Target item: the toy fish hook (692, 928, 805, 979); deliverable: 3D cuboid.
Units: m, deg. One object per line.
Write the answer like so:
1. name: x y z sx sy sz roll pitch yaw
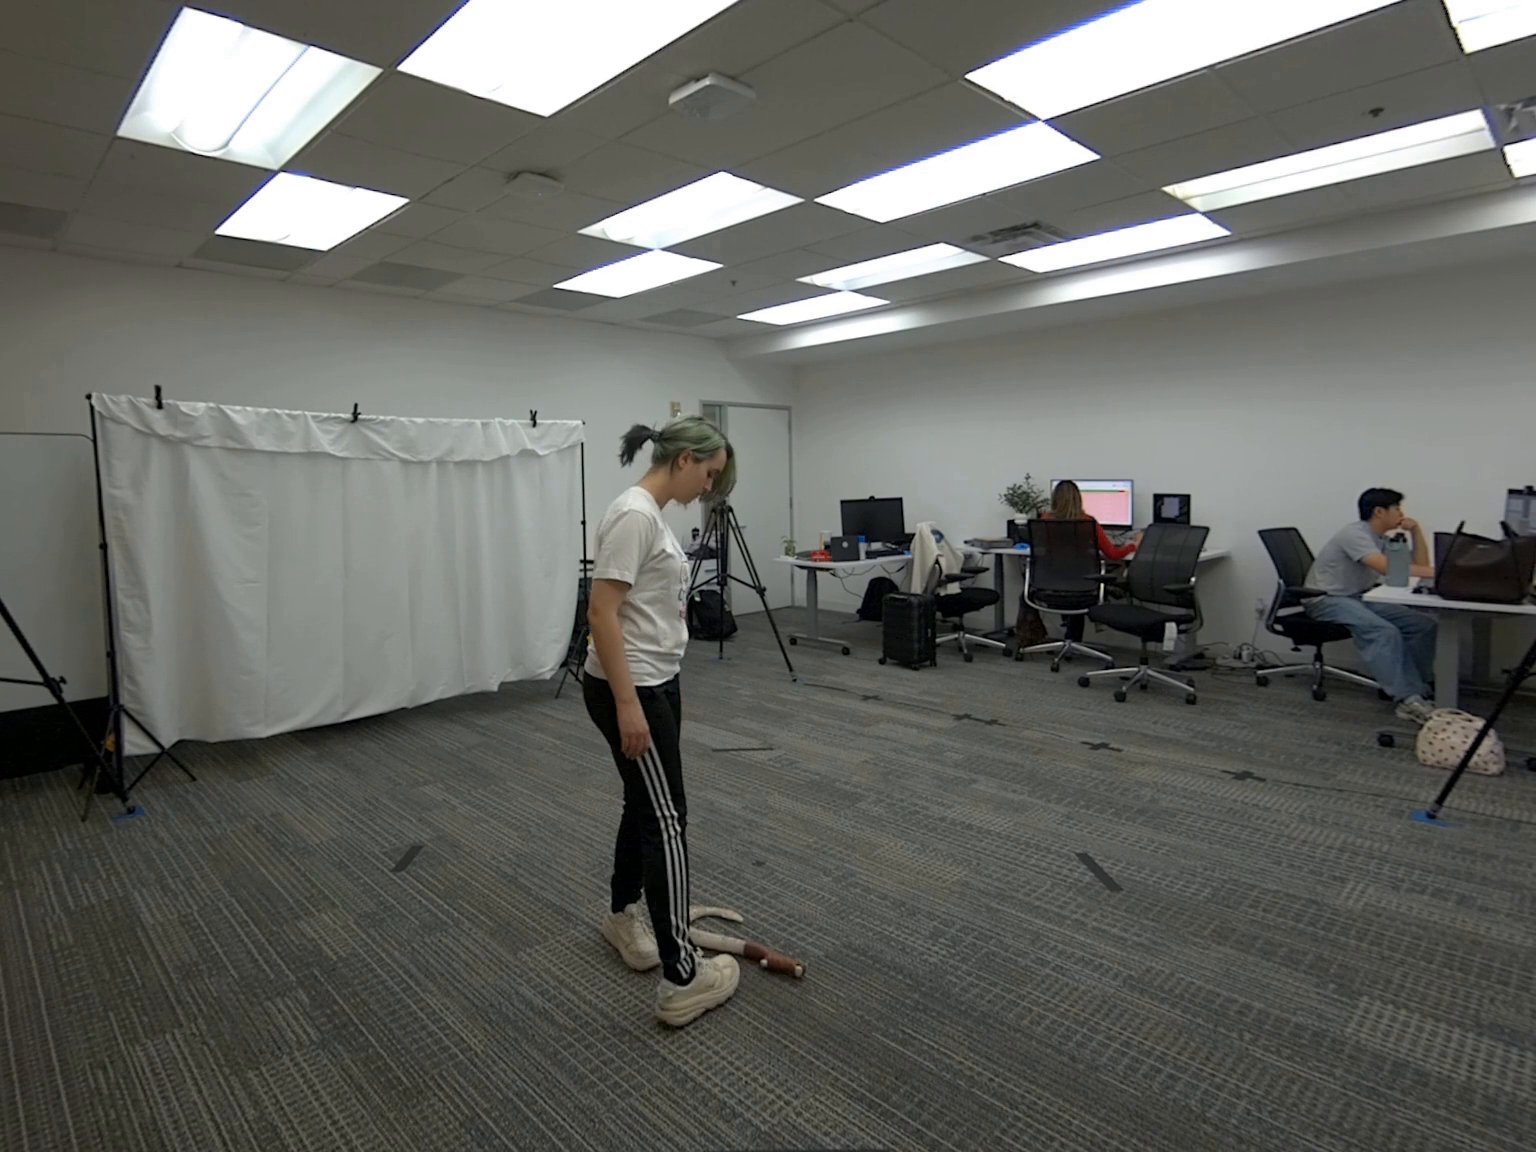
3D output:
1. toy fish hook: -0.080 1.087 2.574 0.521 0.048 0.219 4 9 36
